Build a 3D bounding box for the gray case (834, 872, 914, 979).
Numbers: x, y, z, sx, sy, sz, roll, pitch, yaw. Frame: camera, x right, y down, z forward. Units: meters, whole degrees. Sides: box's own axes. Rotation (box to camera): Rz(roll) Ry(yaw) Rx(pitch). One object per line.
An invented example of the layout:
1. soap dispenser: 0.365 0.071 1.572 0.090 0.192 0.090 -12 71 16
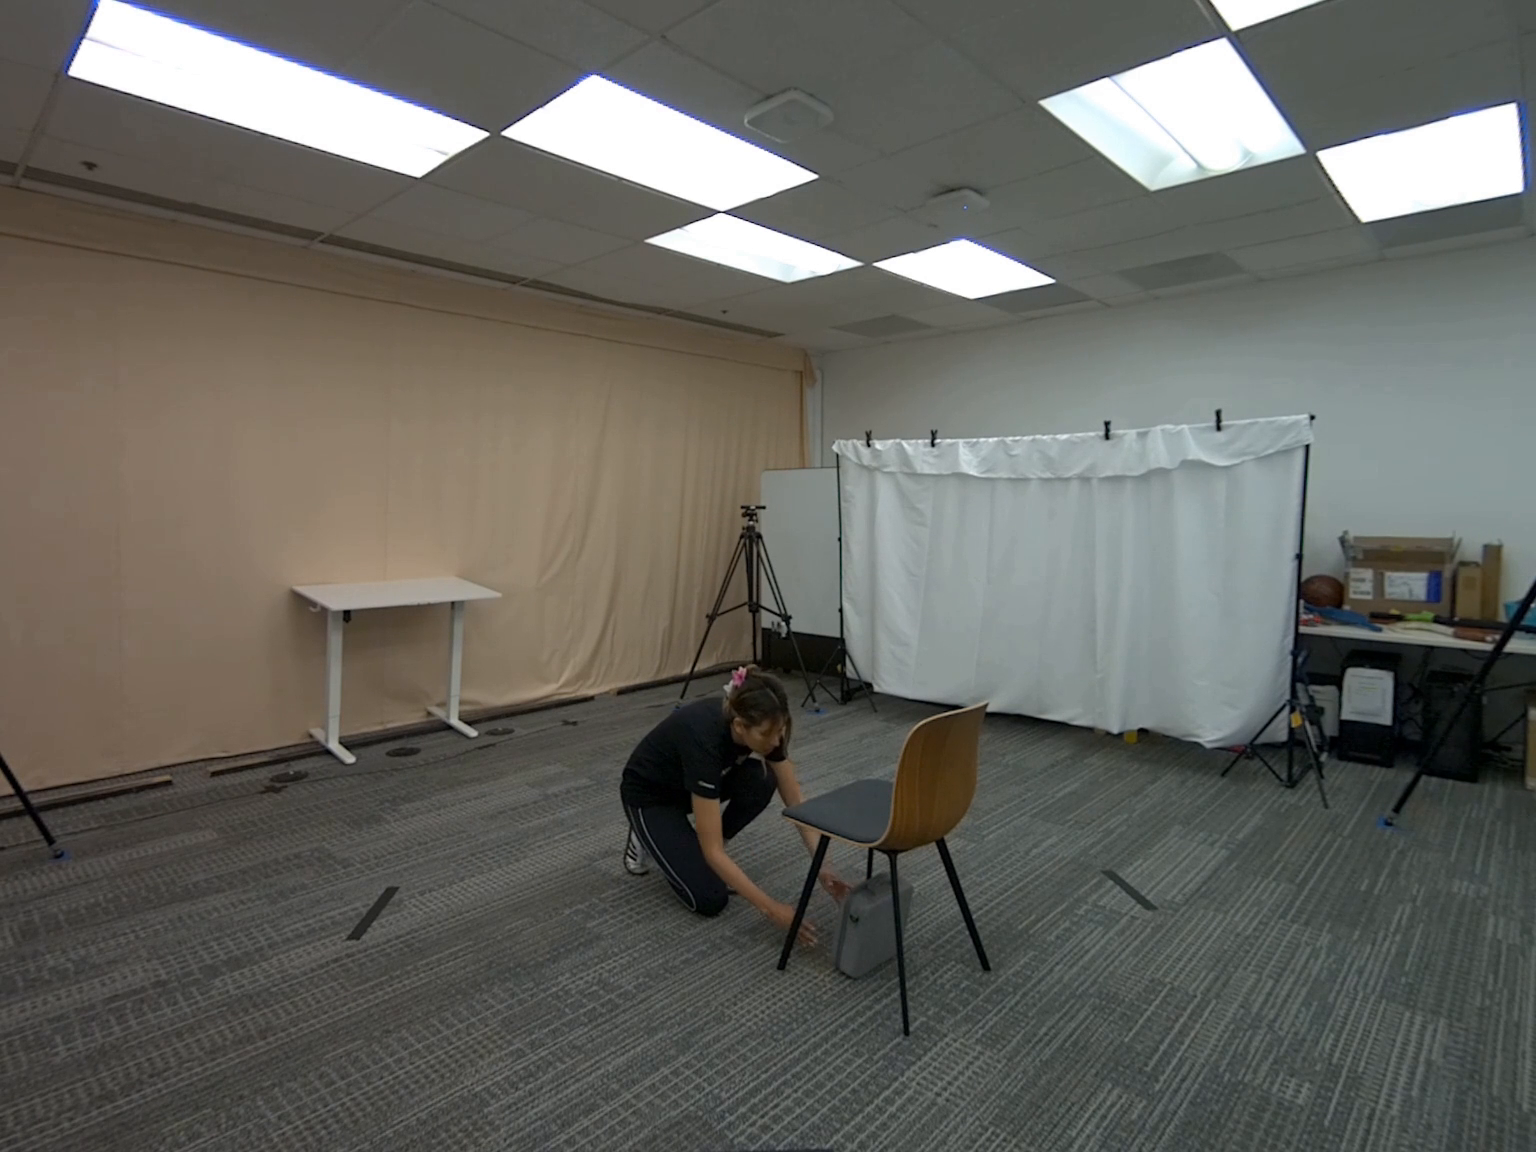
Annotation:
1. gray case: 0.329 1.053 2.547 0.249 0.259 0.108 -5 16 -43
